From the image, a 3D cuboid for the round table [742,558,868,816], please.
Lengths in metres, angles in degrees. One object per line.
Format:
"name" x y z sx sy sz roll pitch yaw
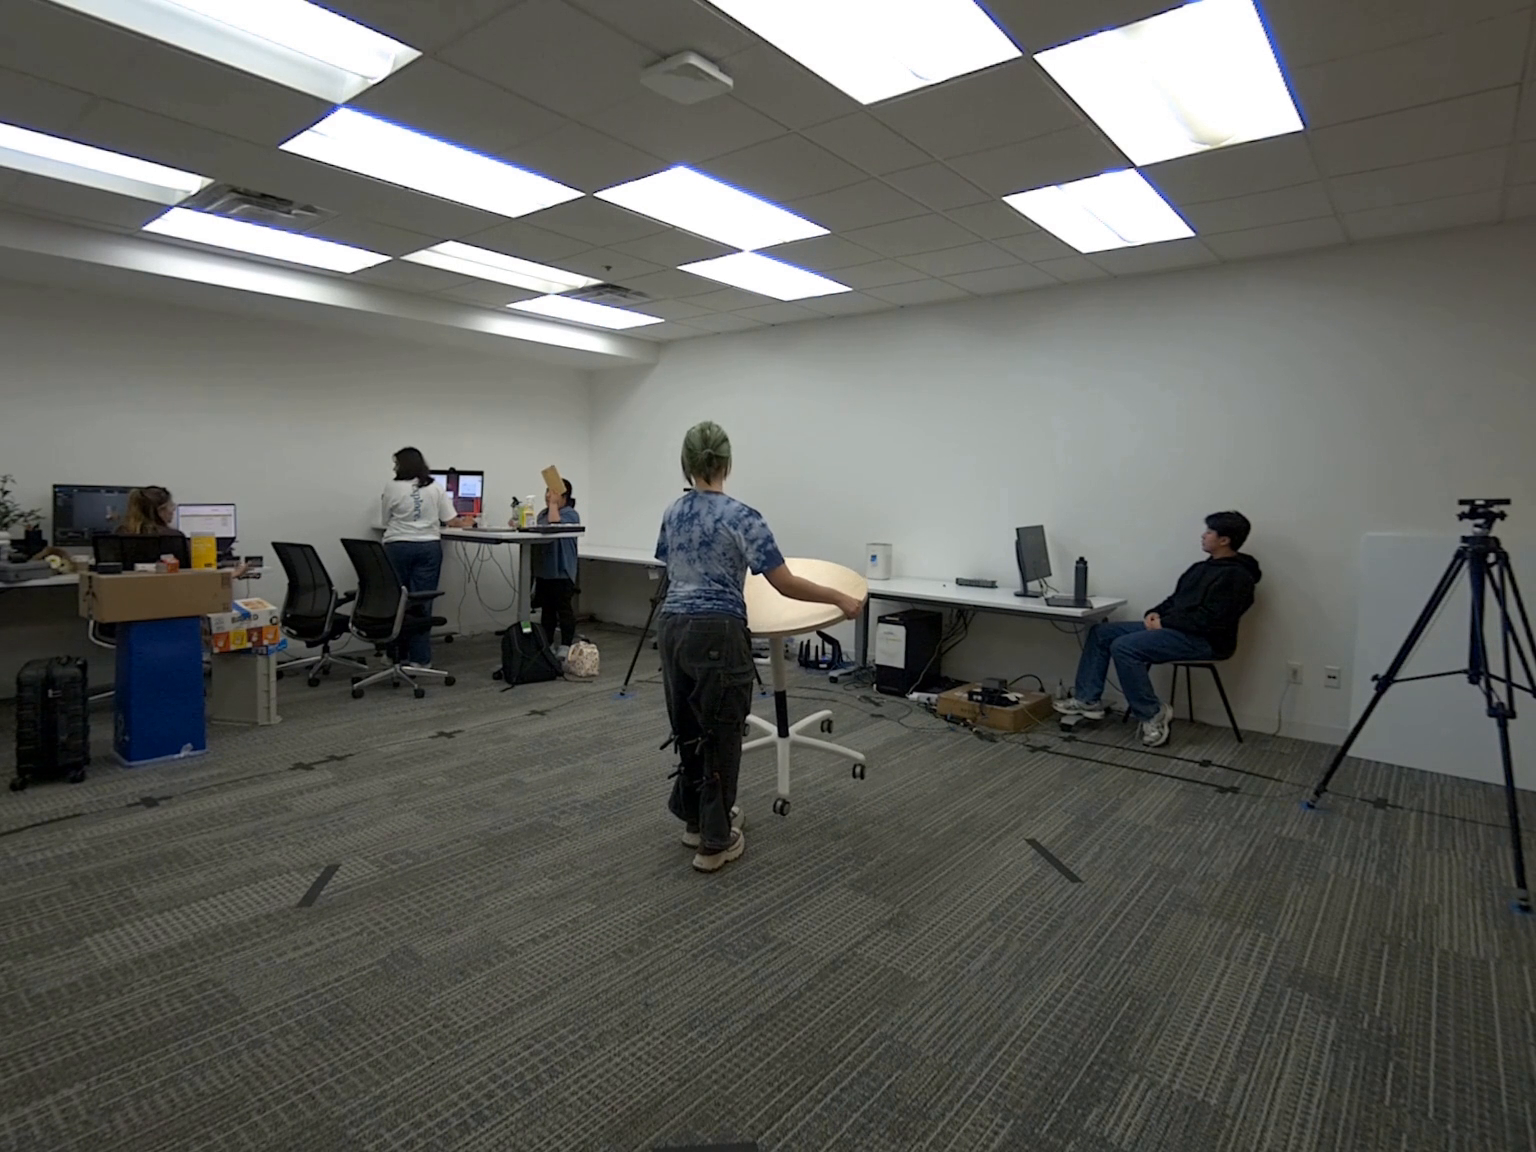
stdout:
"round table" 0.037 0.439 3.565 0.765 0.779 0.778 -5 19 0
